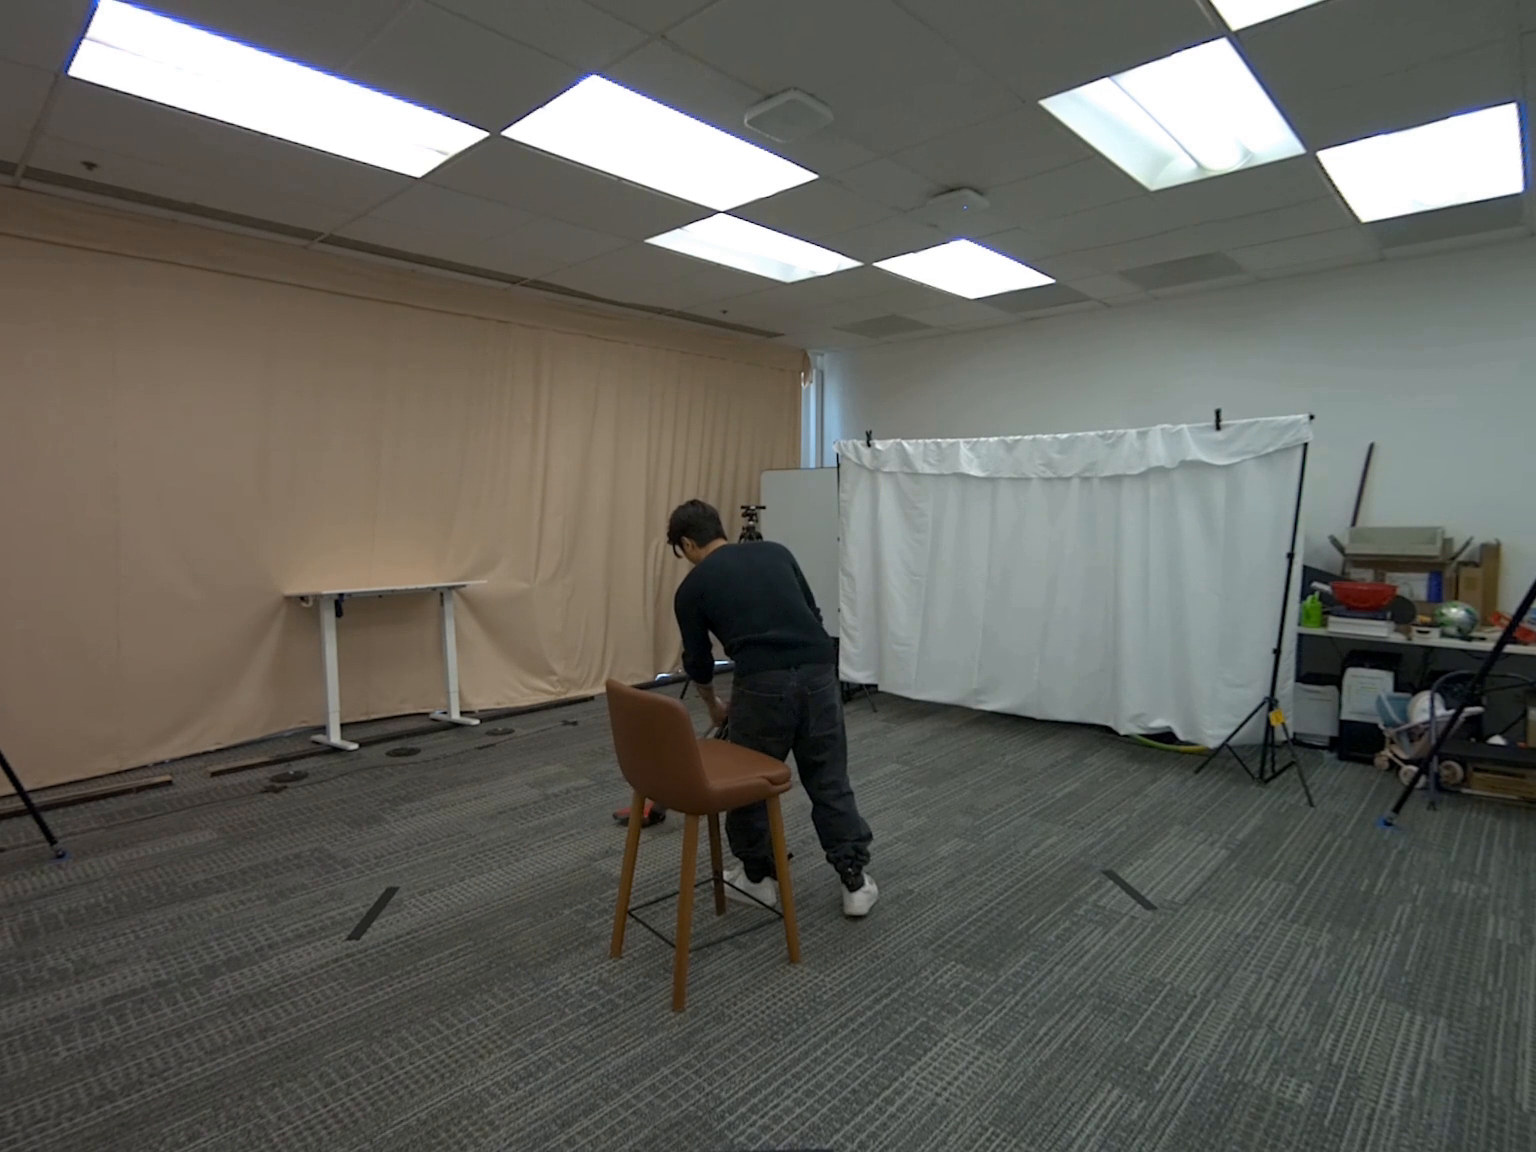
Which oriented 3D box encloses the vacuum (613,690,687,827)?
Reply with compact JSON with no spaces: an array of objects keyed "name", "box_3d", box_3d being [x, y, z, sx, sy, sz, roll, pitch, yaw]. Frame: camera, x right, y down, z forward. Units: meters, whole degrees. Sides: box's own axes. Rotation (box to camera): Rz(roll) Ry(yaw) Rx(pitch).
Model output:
[{"name":"vacuum","box_3d":[-0.292,0.733,3.429,0.245,0.148,1.054,-7,-35,-44]}]
